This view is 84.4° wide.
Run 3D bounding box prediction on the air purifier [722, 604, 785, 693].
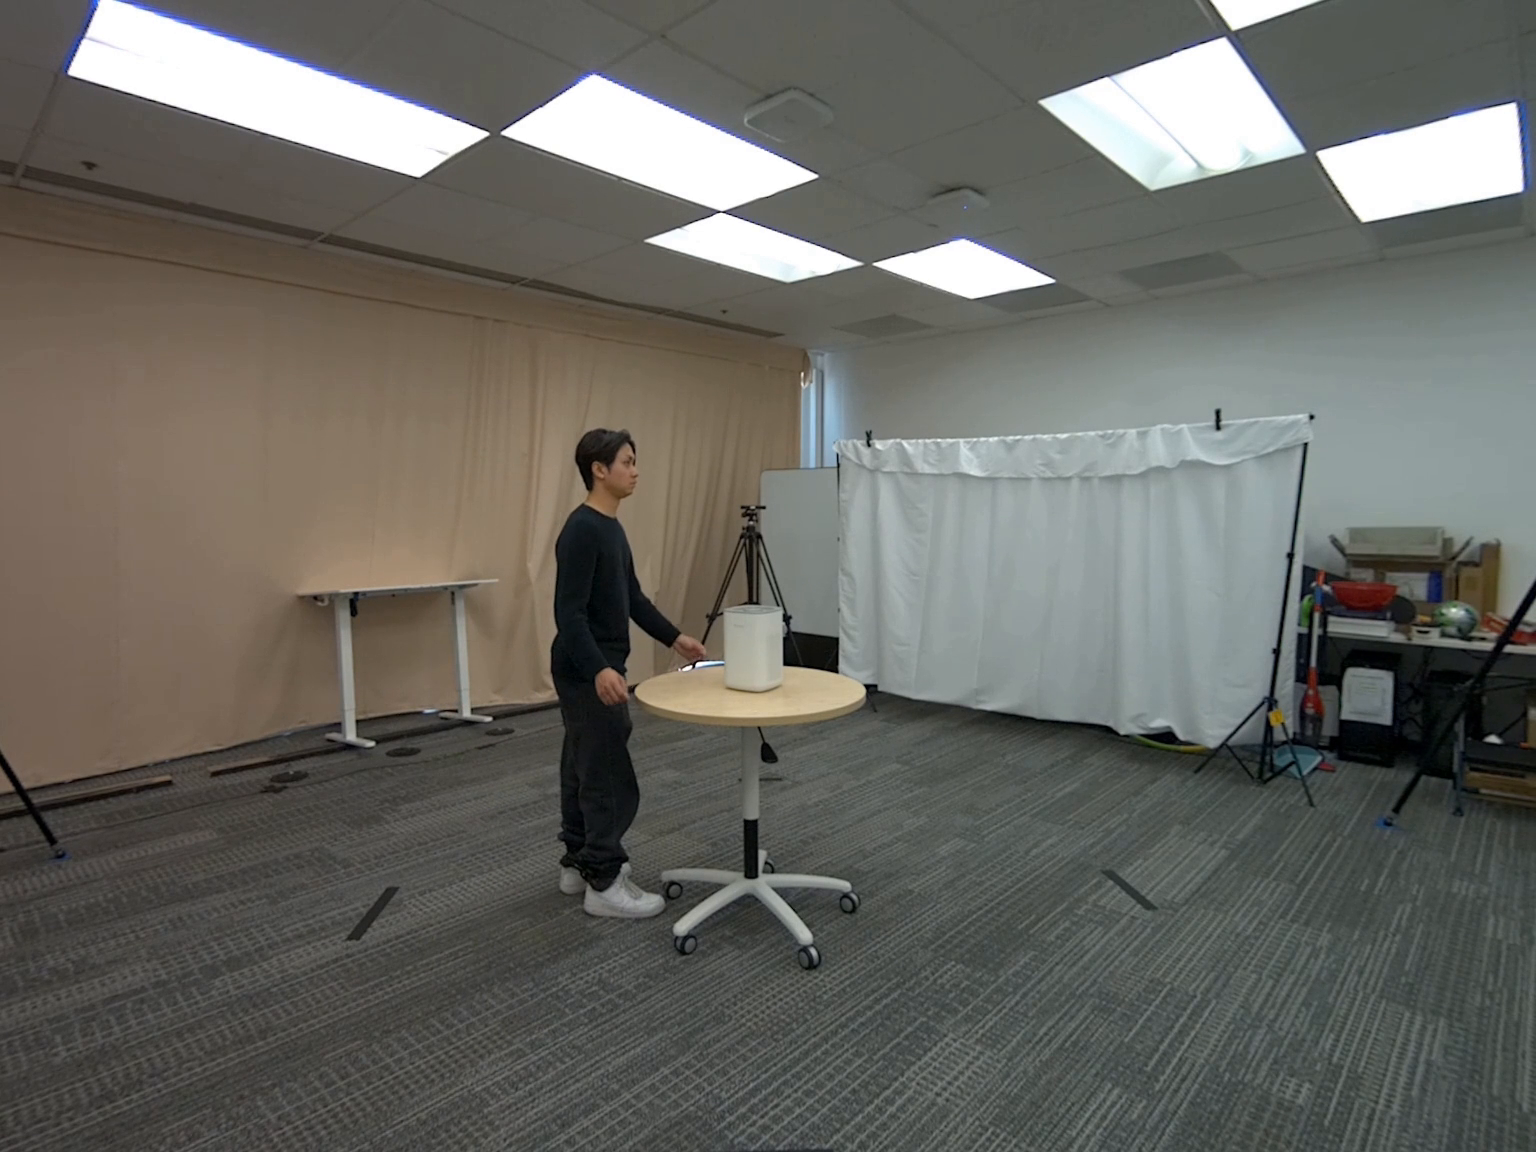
[{"bbox_3d":[-0.046,0.240,2.806,0.176,0.265,0.167,2,3,33],"label":"air purifier"}]
